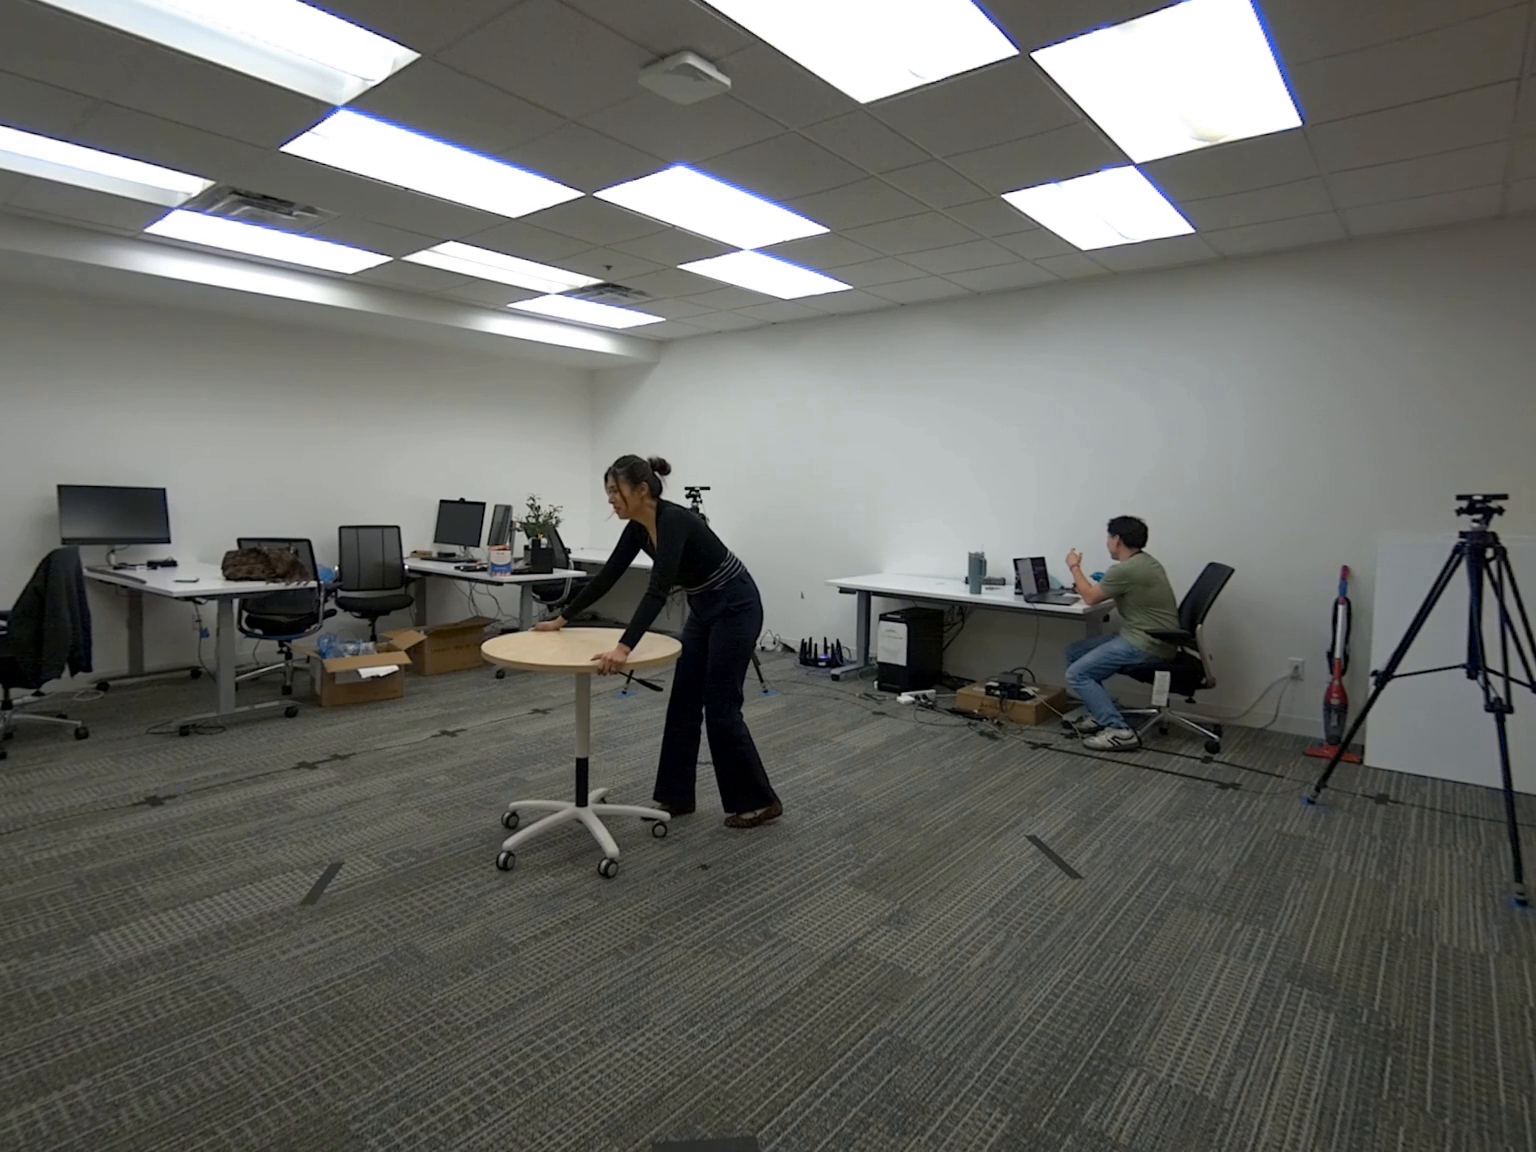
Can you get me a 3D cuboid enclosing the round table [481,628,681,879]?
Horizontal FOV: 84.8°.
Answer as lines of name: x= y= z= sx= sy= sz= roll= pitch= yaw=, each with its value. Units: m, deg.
round table: x=-0.741 y=0.654 z=3.307 sx=0.763 sy=0.791 sz=0.768 roll=1 pitch=4 yaw=-2
